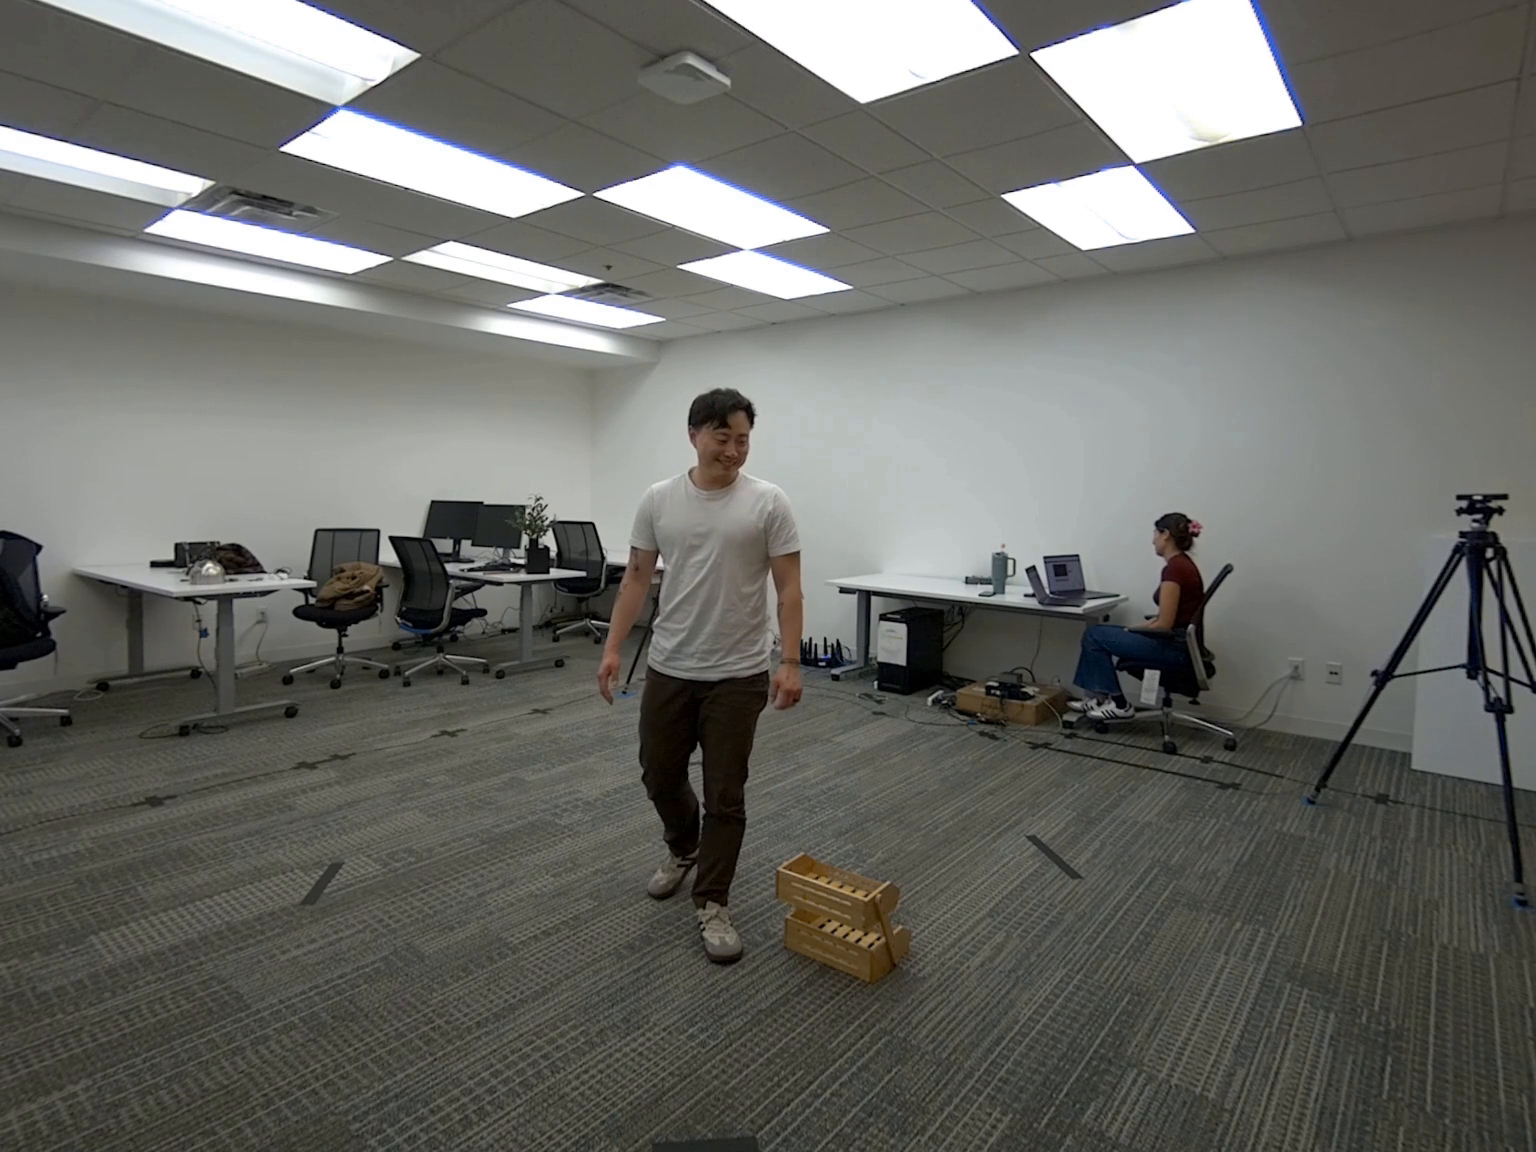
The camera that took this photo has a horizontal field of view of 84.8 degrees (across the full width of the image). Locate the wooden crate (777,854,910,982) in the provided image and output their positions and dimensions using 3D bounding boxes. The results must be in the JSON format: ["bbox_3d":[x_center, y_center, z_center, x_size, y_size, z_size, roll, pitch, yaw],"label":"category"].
[{"bbox_3d":[0.224,0.993,2.558,0.335,0.272,0.293,5,6,36],"label":"wooden crate"}]
